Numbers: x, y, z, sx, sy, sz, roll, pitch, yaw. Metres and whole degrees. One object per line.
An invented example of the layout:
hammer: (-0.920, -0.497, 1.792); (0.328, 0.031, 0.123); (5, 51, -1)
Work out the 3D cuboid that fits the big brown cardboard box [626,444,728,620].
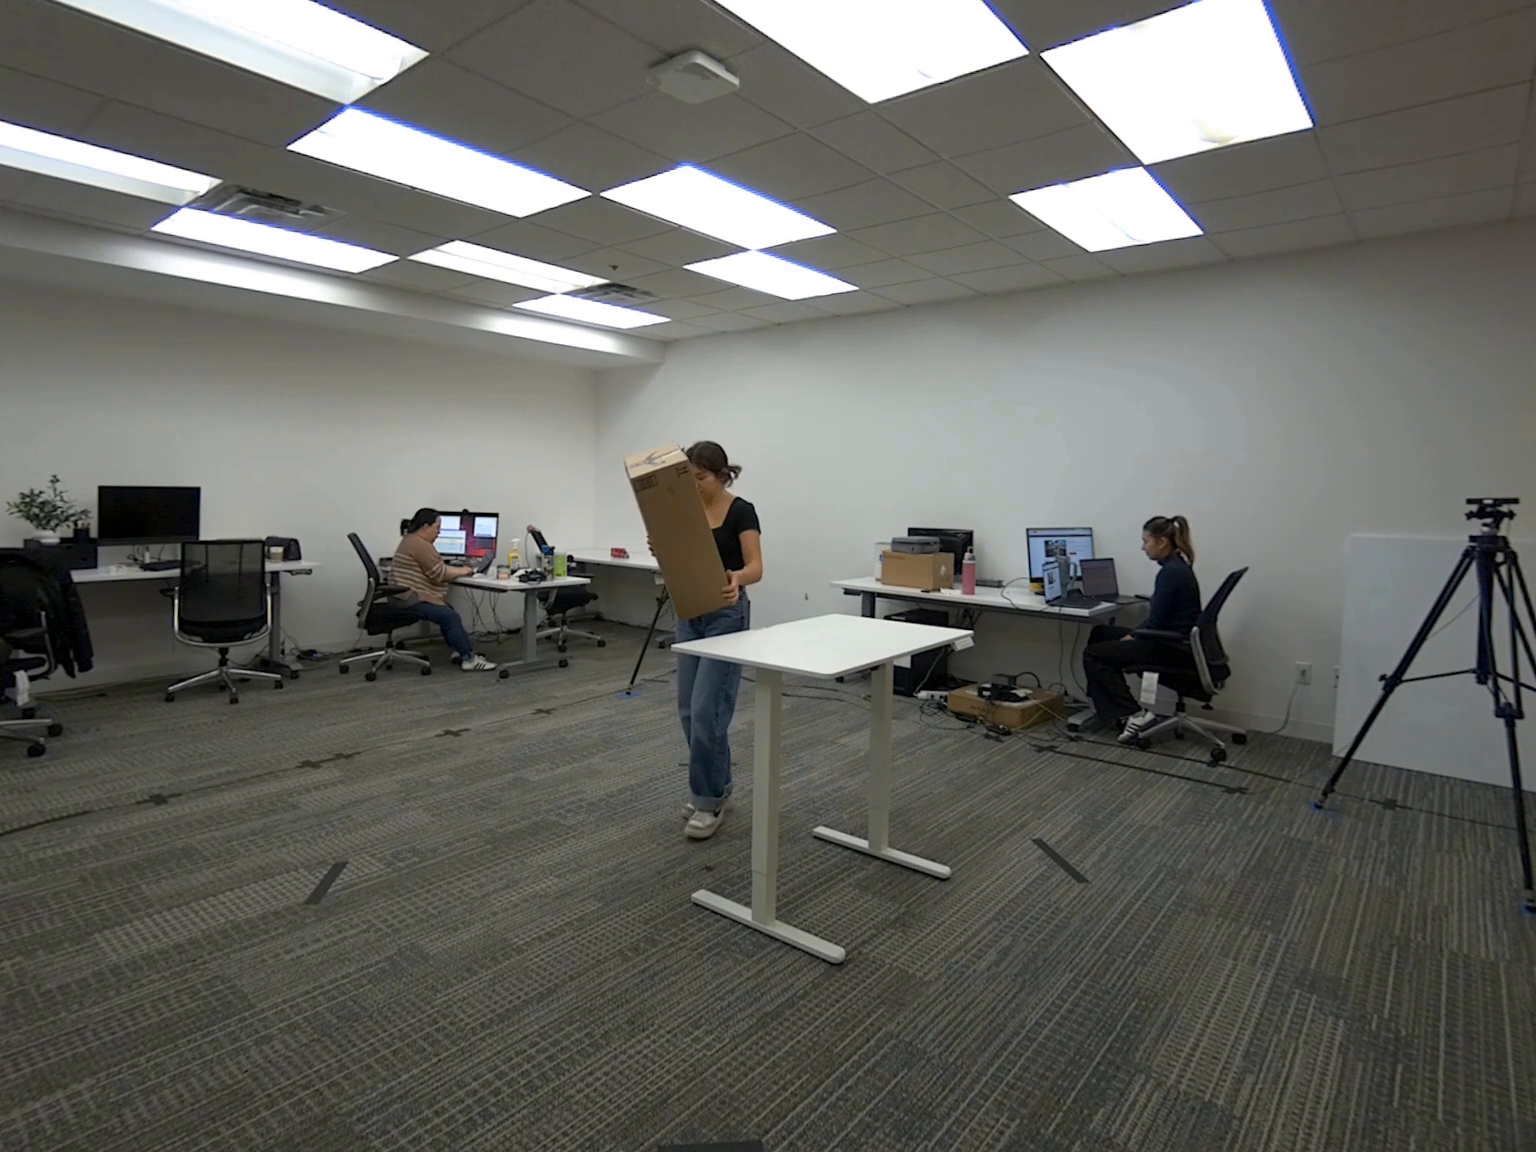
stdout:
big brown cardboard box: (-0.350, -0.184, 3.216); (0.232, 0.576, 0.428); (-20, 19, -6)
